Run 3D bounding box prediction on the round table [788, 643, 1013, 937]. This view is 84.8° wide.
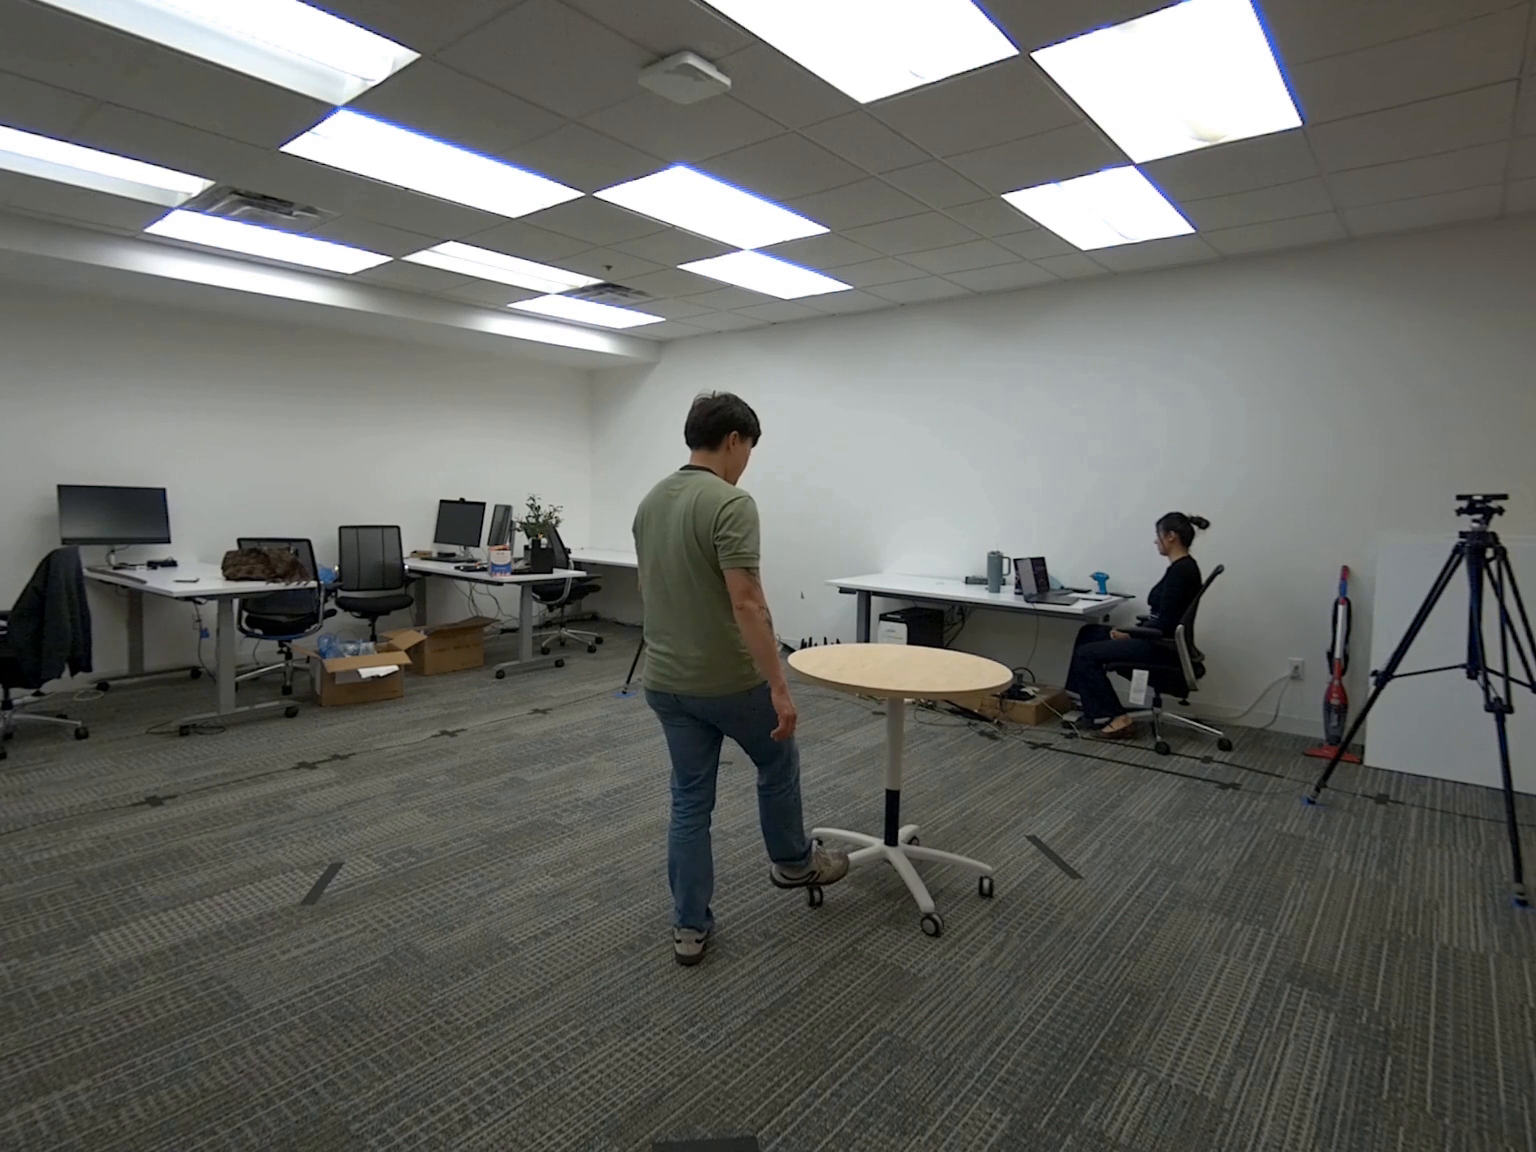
[{"bbox_3d":[0.430,0.699,2.997,0.763,0.791,0.768,2,4,-2],"label":"round table"}]
